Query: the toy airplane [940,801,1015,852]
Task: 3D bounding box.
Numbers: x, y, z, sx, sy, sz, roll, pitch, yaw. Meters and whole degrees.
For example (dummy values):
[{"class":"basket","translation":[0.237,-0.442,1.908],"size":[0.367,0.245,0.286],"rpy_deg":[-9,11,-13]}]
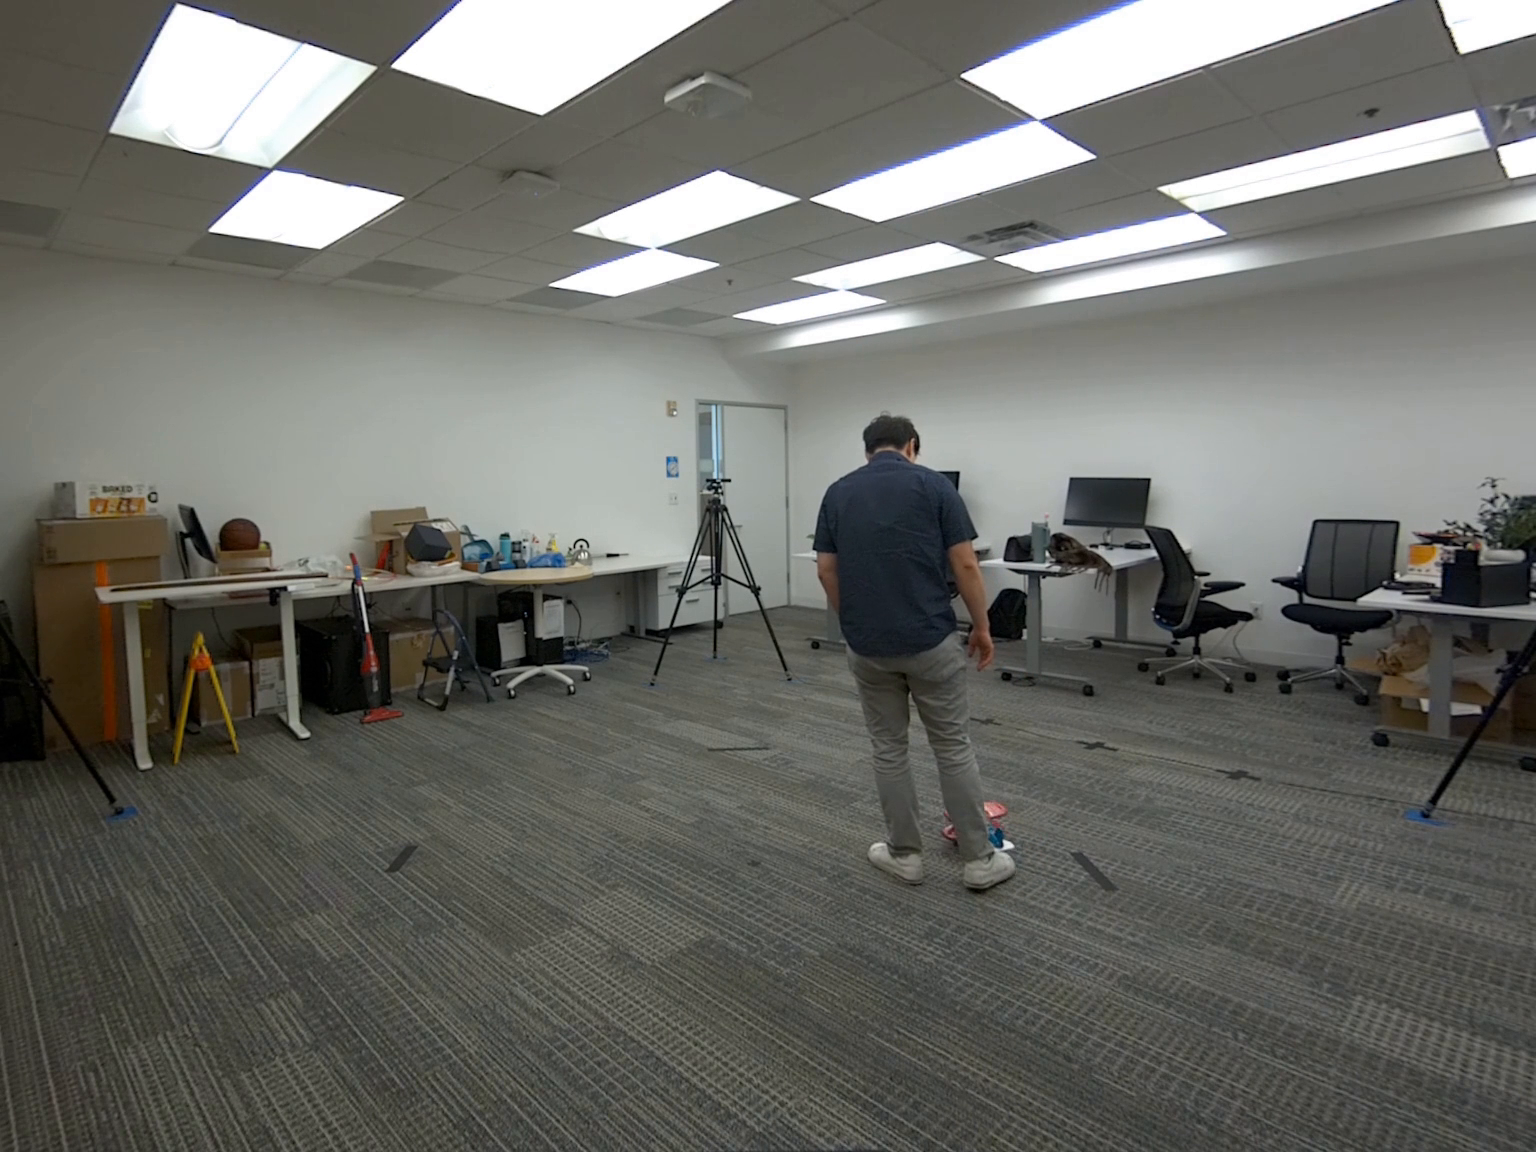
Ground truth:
[{"class":"toy airplane","translation":[0.812,0.951,3.179],"size":[0.267,0.156,0.244],"rpy_deg":[3,5,43]}]
